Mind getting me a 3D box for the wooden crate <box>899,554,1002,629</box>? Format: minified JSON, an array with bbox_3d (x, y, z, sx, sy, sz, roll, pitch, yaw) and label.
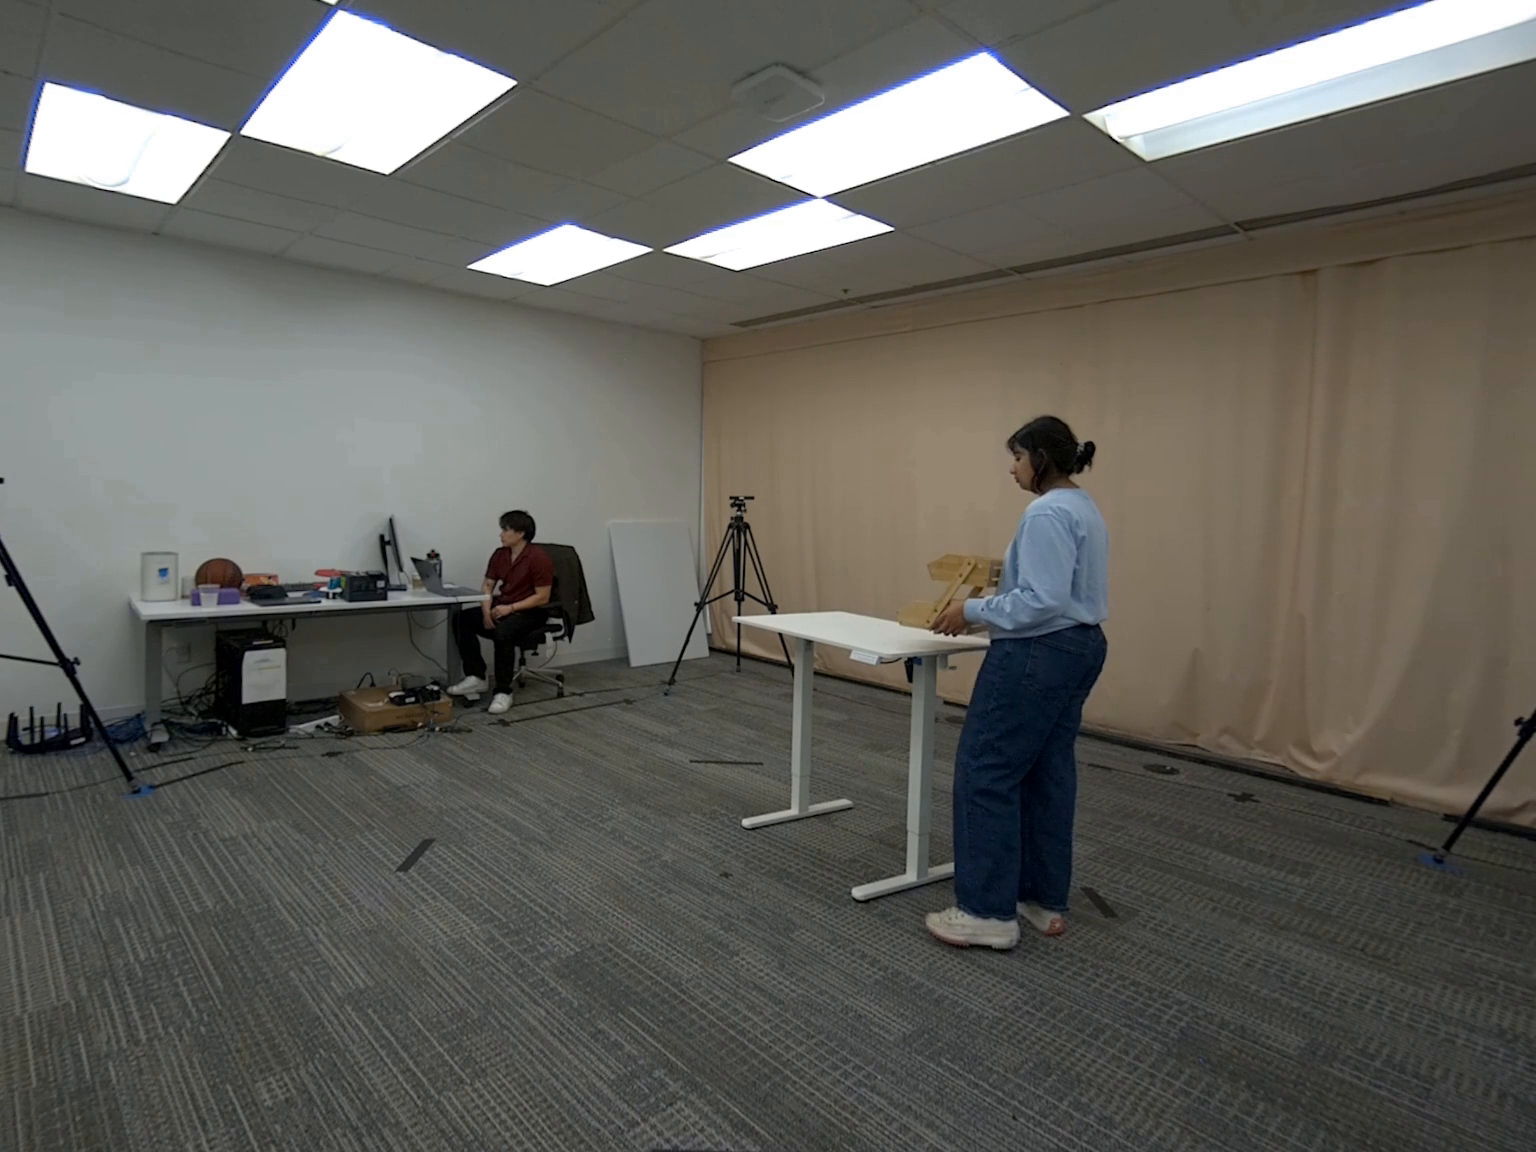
[{"bbox_3d":[0.641,0.051,2.922,0.309,0.273,0.317,9,4,29],"label":"wooden crate"}]
